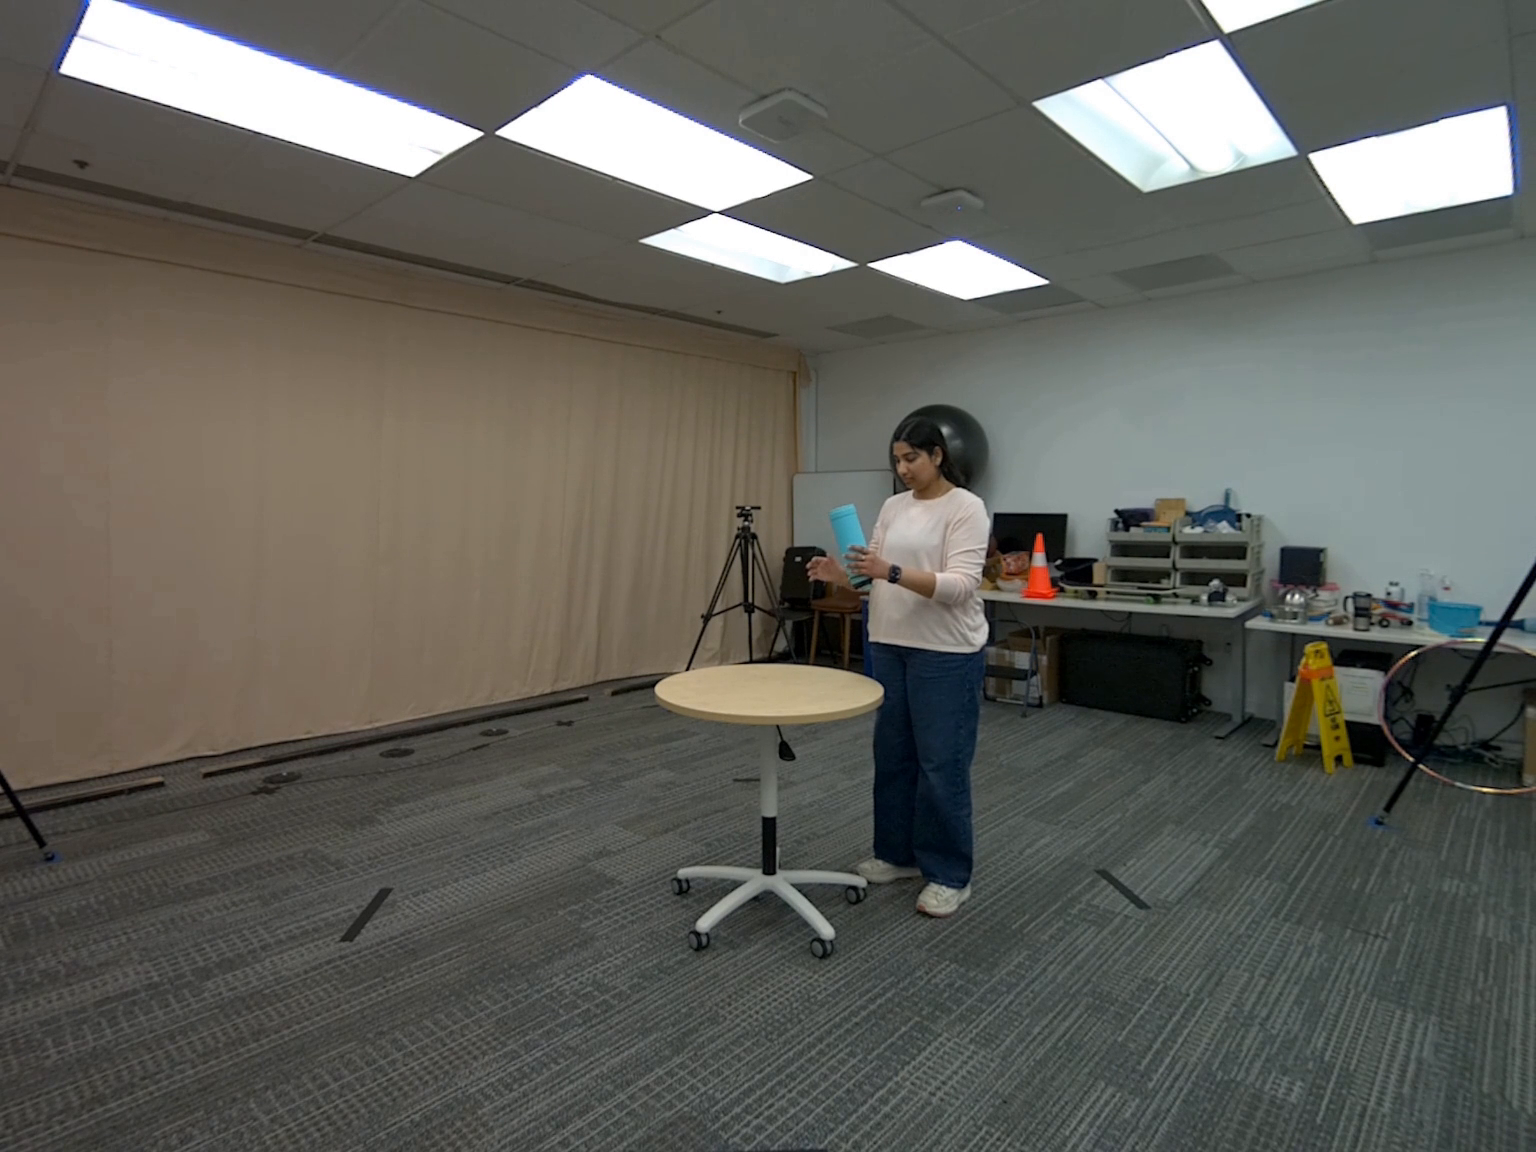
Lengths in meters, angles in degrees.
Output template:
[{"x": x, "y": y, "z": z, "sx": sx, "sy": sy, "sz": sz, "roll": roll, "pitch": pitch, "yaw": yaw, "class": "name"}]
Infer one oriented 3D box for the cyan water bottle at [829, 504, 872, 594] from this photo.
[{"x": 0.294, "y": -0.088, "z": 2.776, "sx": 0.092, "sy": 0.284, "sz": 0.092, "roll": -15, "pitch": -2, "yaw": -2, "class": "cyan water bottle"}]
